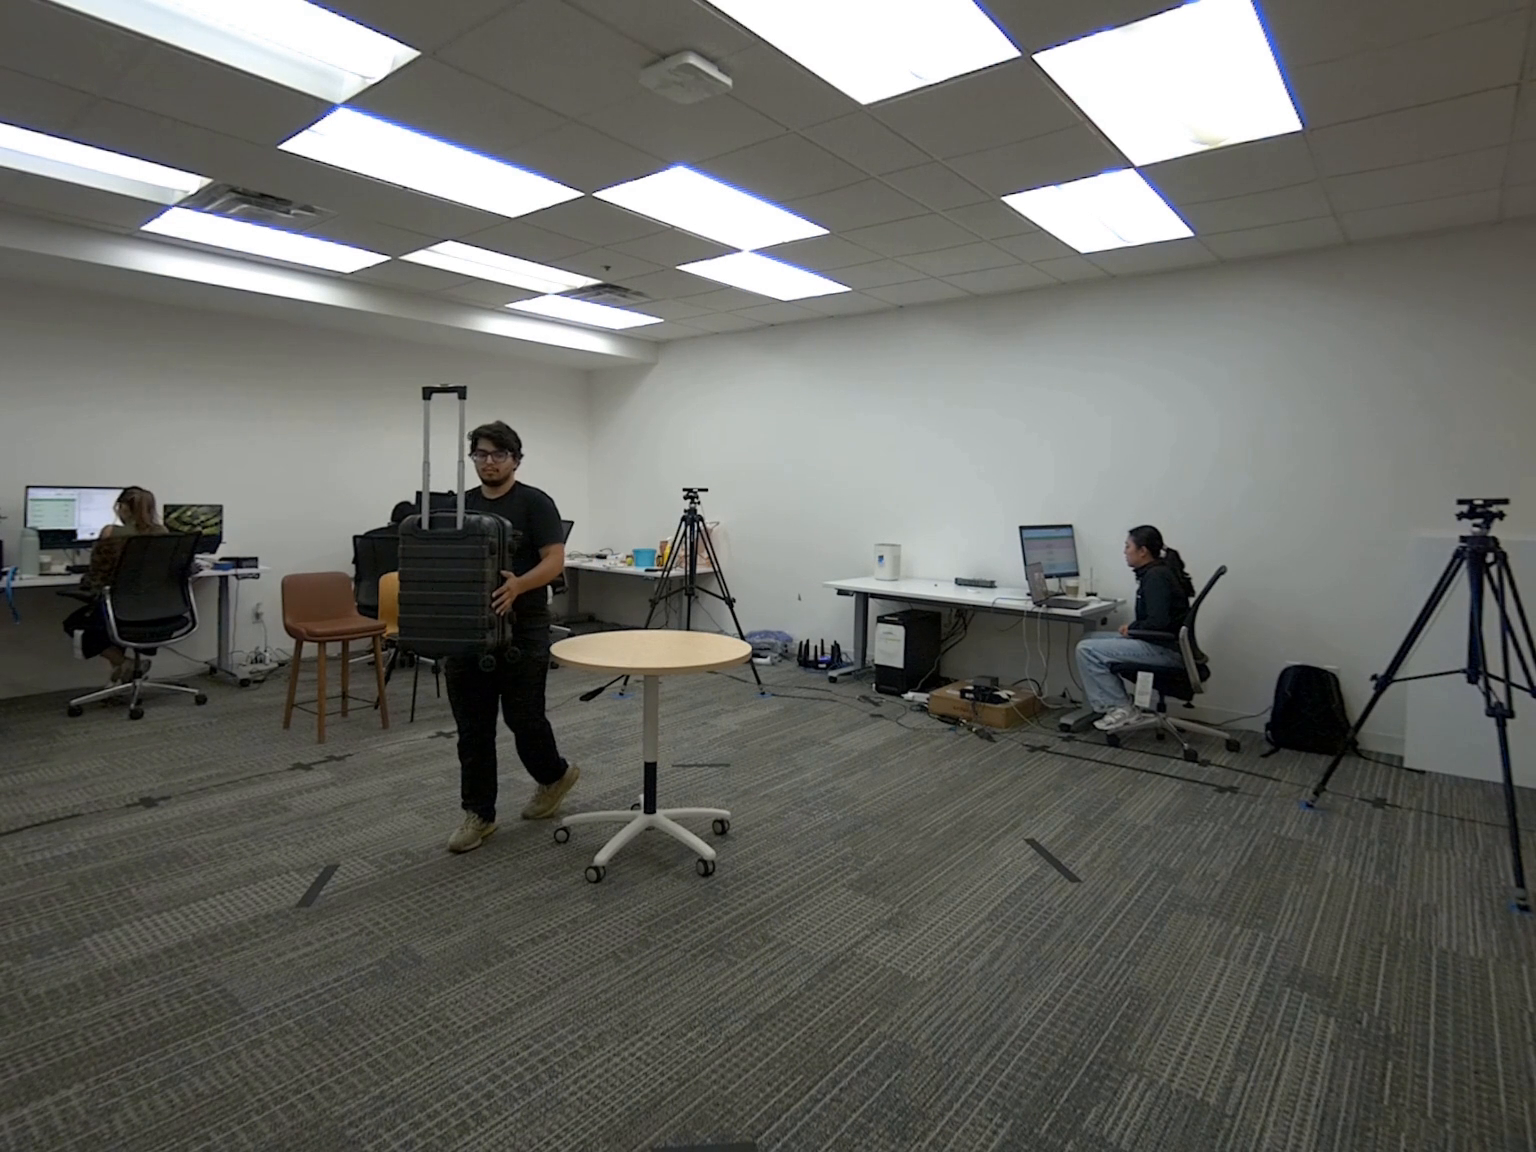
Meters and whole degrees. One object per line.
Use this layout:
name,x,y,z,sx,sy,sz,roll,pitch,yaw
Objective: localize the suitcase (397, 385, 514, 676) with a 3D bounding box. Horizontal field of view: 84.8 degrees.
suitcase,-1.131,-0.177,3.057,0.389,0.978,0.254,1,0,12
